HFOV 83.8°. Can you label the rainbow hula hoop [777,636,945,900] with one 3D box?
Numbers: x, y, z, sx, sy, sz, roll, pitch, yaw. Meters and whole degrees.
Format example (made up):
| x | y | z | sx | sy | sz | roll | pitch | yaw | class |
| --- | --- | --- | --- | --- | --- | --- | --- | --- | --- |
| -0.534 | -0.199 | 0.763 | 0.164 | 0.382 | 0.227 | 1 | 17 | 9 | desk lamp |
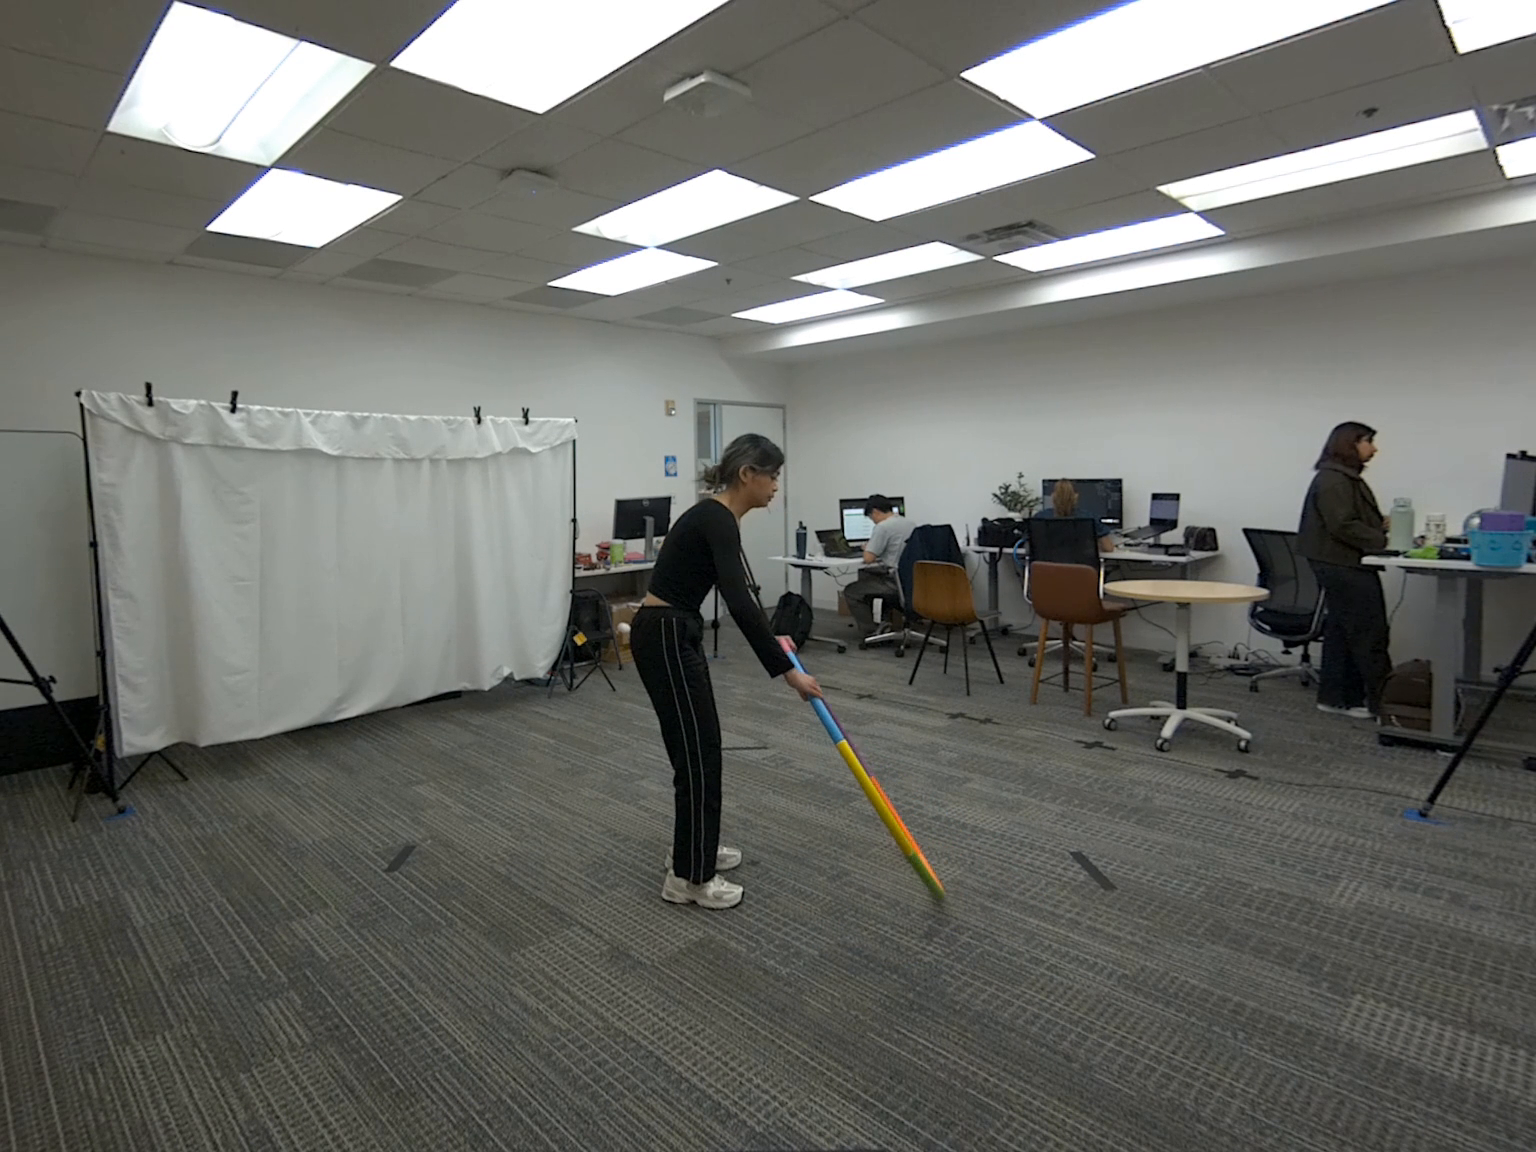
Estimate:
| x | y | z | sx | sy | sz | roll | pitch | yaw | class |
| --- | --- | --- | --- | --- | --- | --- | --- | --- | --- |
| 0.299 | 0.638 | 2.903 | 0.035 | 0.973 | 0.985 | -33 | 5 | 0 | rainbow hula hoop |
